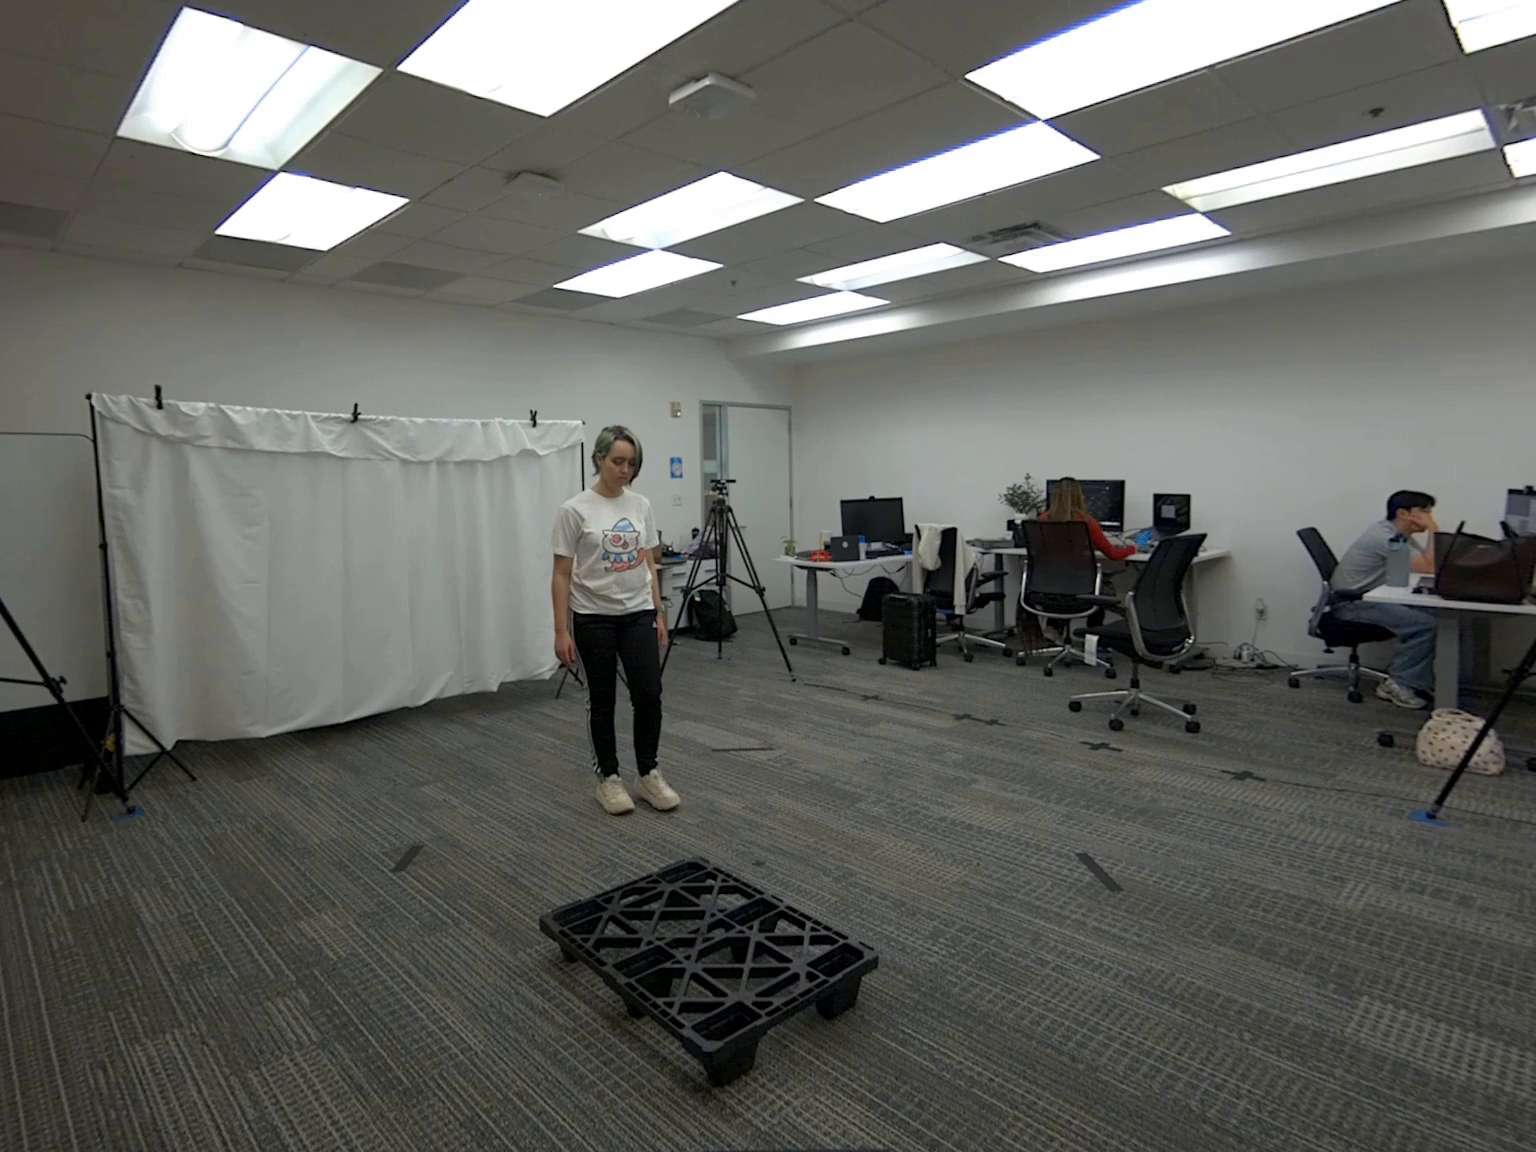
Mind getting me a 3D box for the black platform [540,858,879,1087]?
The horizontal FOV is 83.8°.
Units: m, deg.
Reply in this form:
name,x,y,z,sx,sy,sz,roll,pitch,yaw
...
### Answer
name,x,y,z,sx,sy,sz,roll,pitch,yaw
black platform,-0.180,1.067,2.398,0.589,0.142,0.831,-6,8,-41
